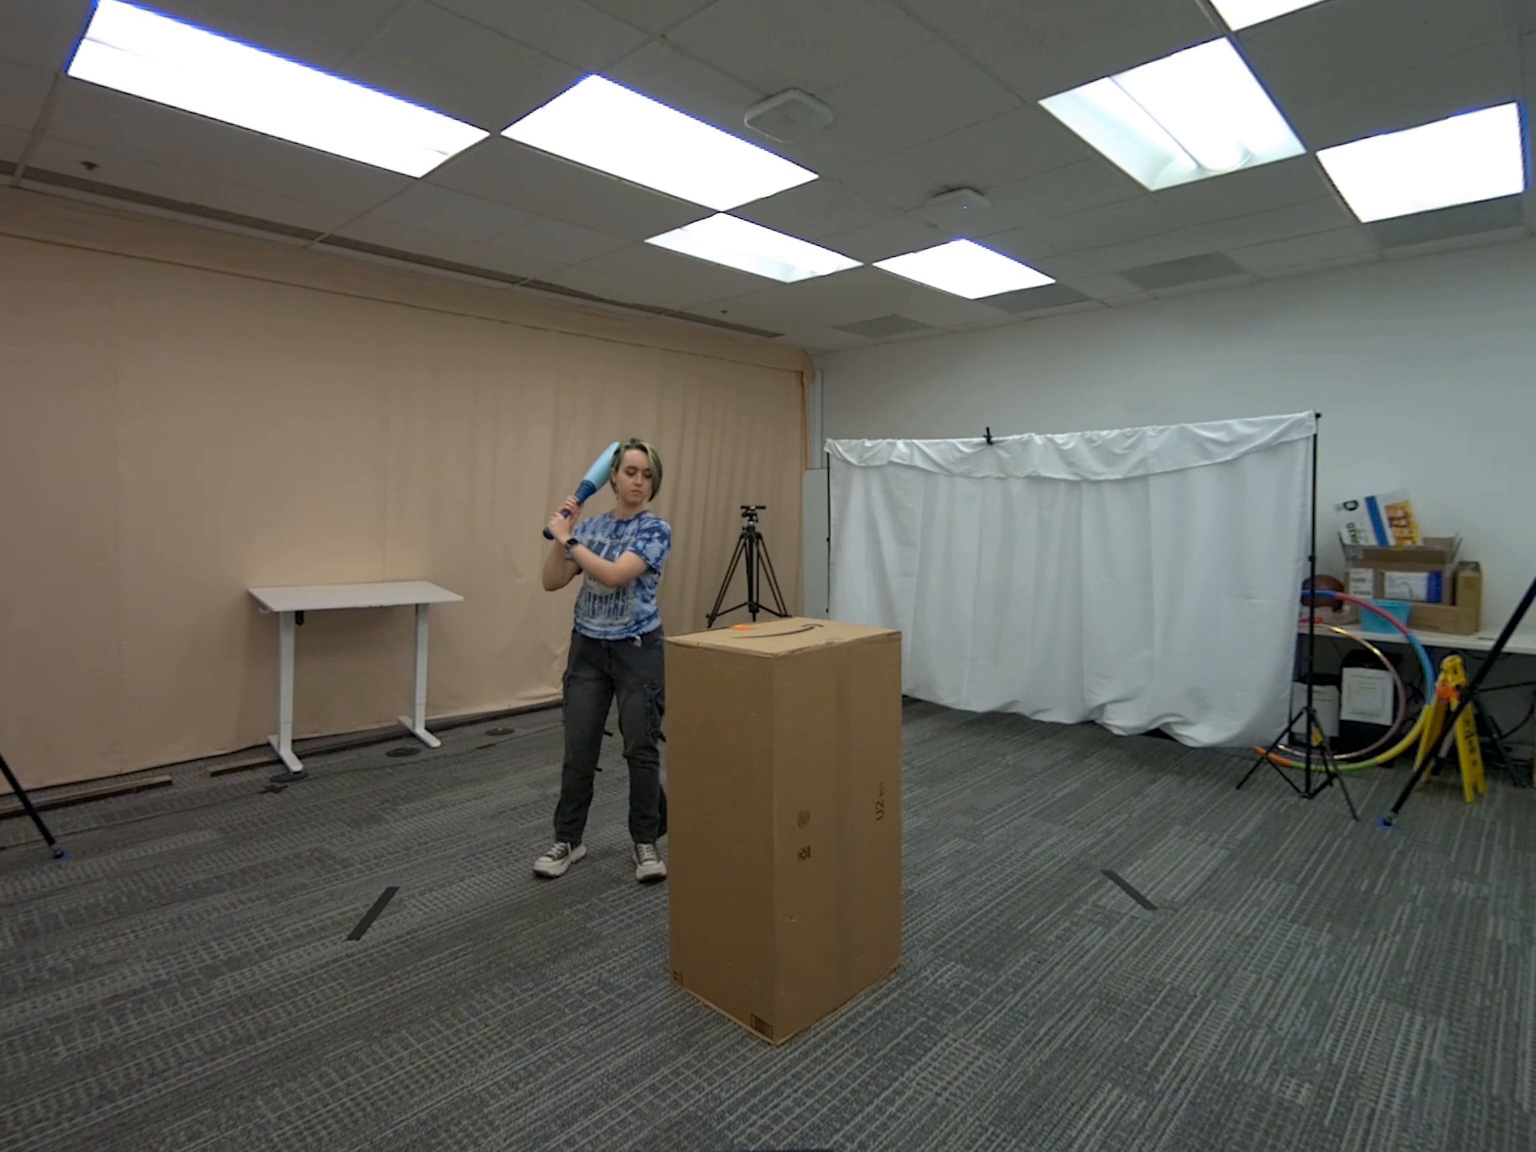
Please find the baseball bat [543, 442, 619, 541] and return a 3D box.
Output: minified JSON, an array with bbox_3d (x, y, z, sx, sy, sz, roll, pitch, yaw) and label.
[{"bbox_3d":[-0.693,-0.323,3.229,0.092,0.086,0.542,2,48,36],"label":"baseball bat"}]
